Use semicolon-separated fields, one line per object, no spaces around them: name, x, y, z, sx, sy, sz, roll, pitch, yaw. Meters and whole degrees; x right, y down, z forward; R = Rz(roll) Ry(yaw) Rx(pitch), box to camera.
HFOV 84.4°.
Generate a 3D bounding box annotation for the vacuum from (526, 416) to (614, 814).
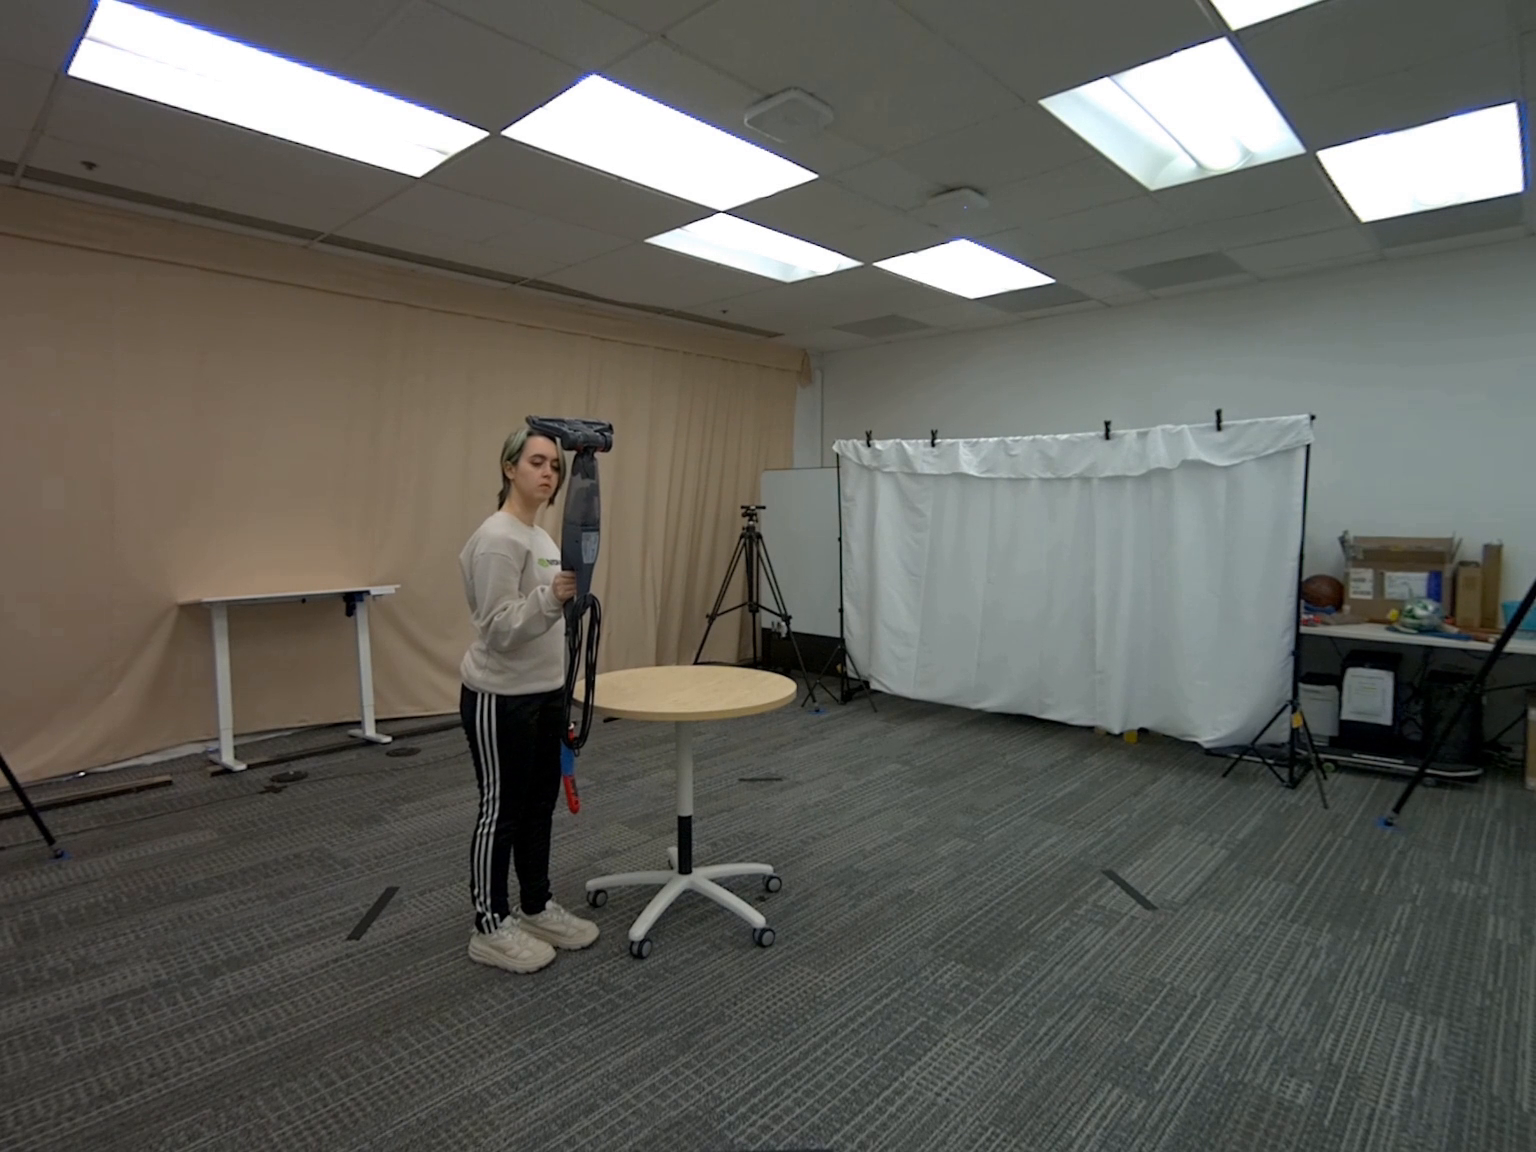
vacuum;-0.516;0.119;2.274;0.245;1.046;0.149;-3;5;-39
